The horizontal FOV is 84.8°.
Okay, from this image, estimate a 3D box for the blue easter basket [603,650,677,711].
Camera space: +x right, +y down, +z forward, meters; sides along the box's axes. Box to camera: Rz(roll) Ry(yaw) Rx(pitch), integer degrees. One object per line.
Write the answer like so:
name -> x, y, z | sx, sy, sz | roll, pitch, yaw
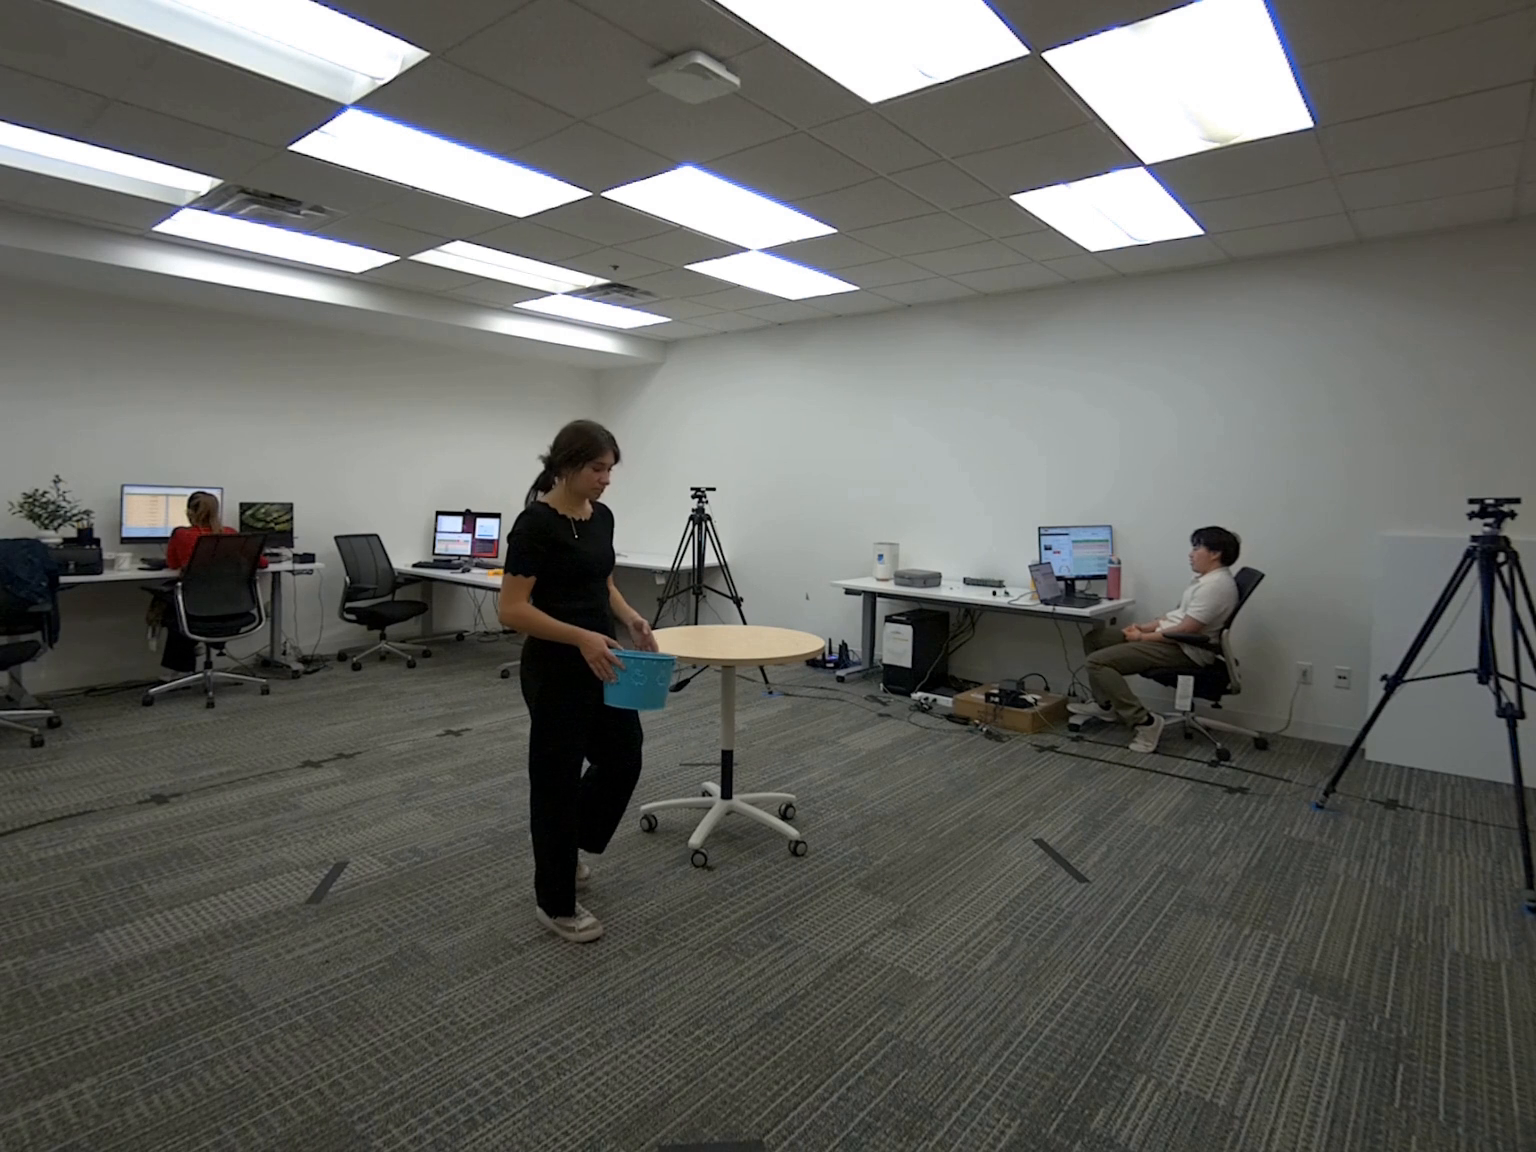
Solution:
blue easter basket -> -0.412, 0.308, 2.522 | 0.243, 0.156, 0.243 | 3, -1, -2
